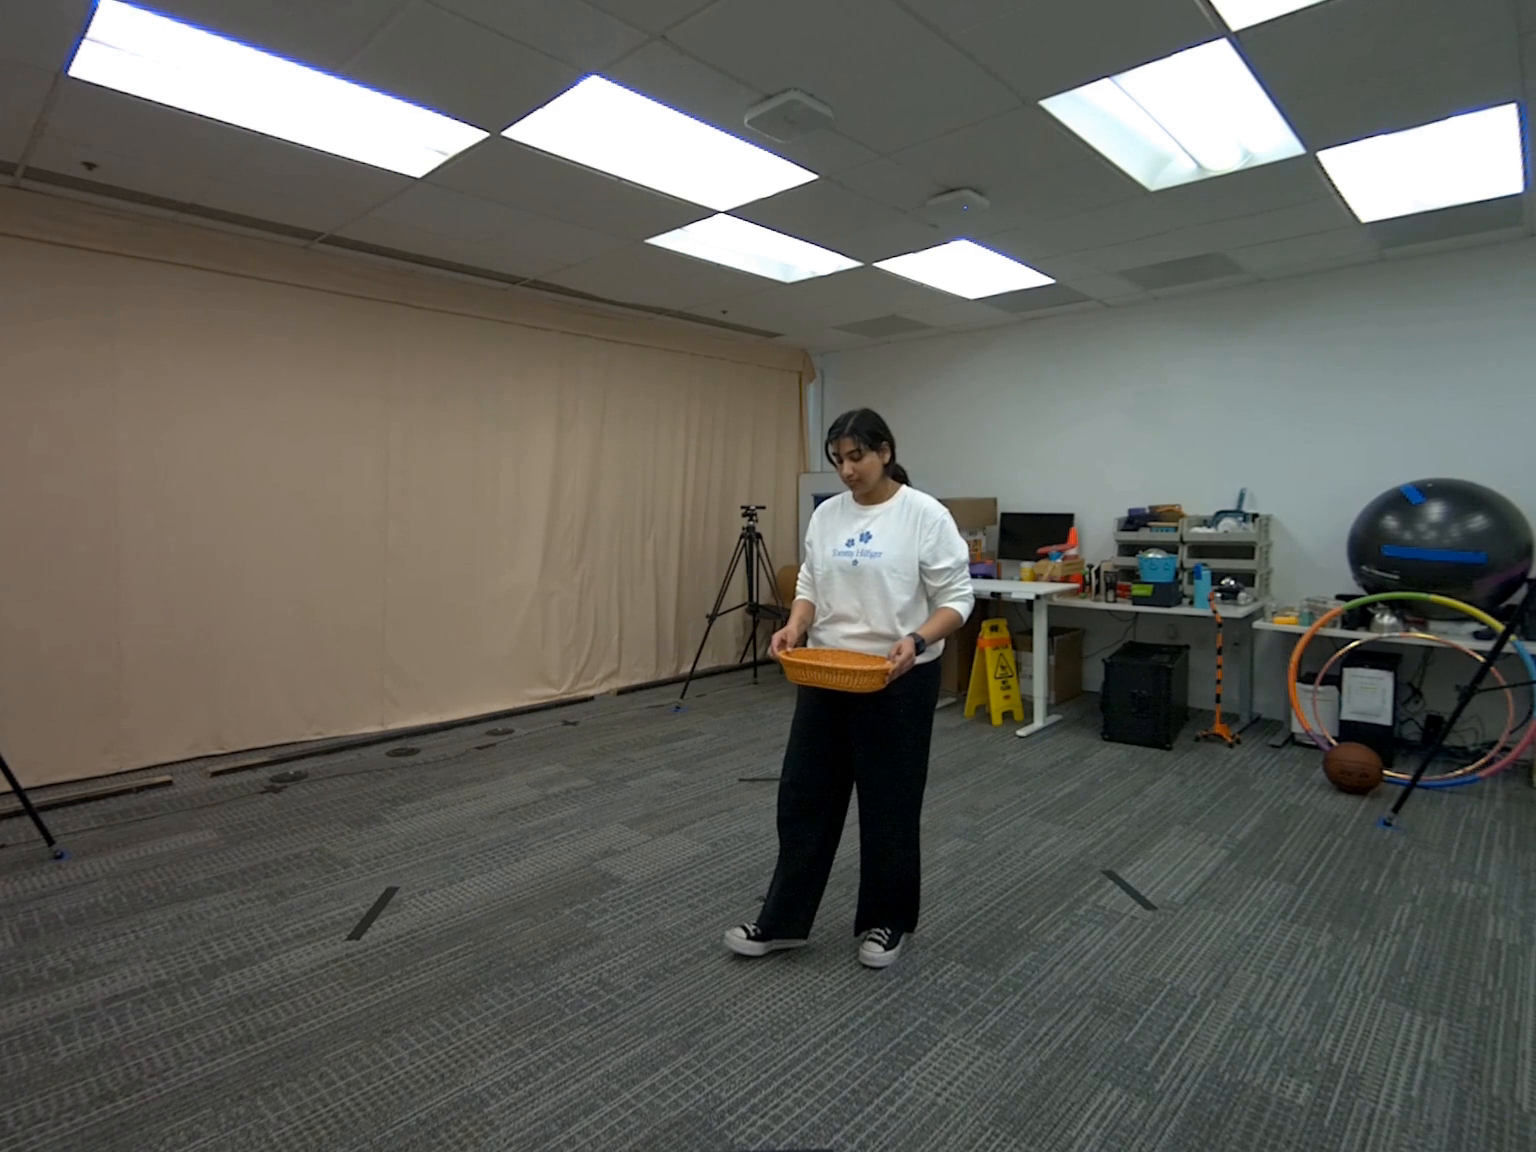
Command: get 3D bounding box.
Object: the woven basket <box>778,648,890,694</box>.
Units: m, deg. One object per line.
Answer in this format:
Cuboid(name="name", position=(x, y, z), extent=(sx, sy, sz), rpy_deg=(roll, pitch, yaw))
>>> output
Cuboid(name="woven basket", position=(0.208, 0.256, 2.340), extent=(0.244, 0.073, 0.362), rpy_deg=(-2, 5, -41))
